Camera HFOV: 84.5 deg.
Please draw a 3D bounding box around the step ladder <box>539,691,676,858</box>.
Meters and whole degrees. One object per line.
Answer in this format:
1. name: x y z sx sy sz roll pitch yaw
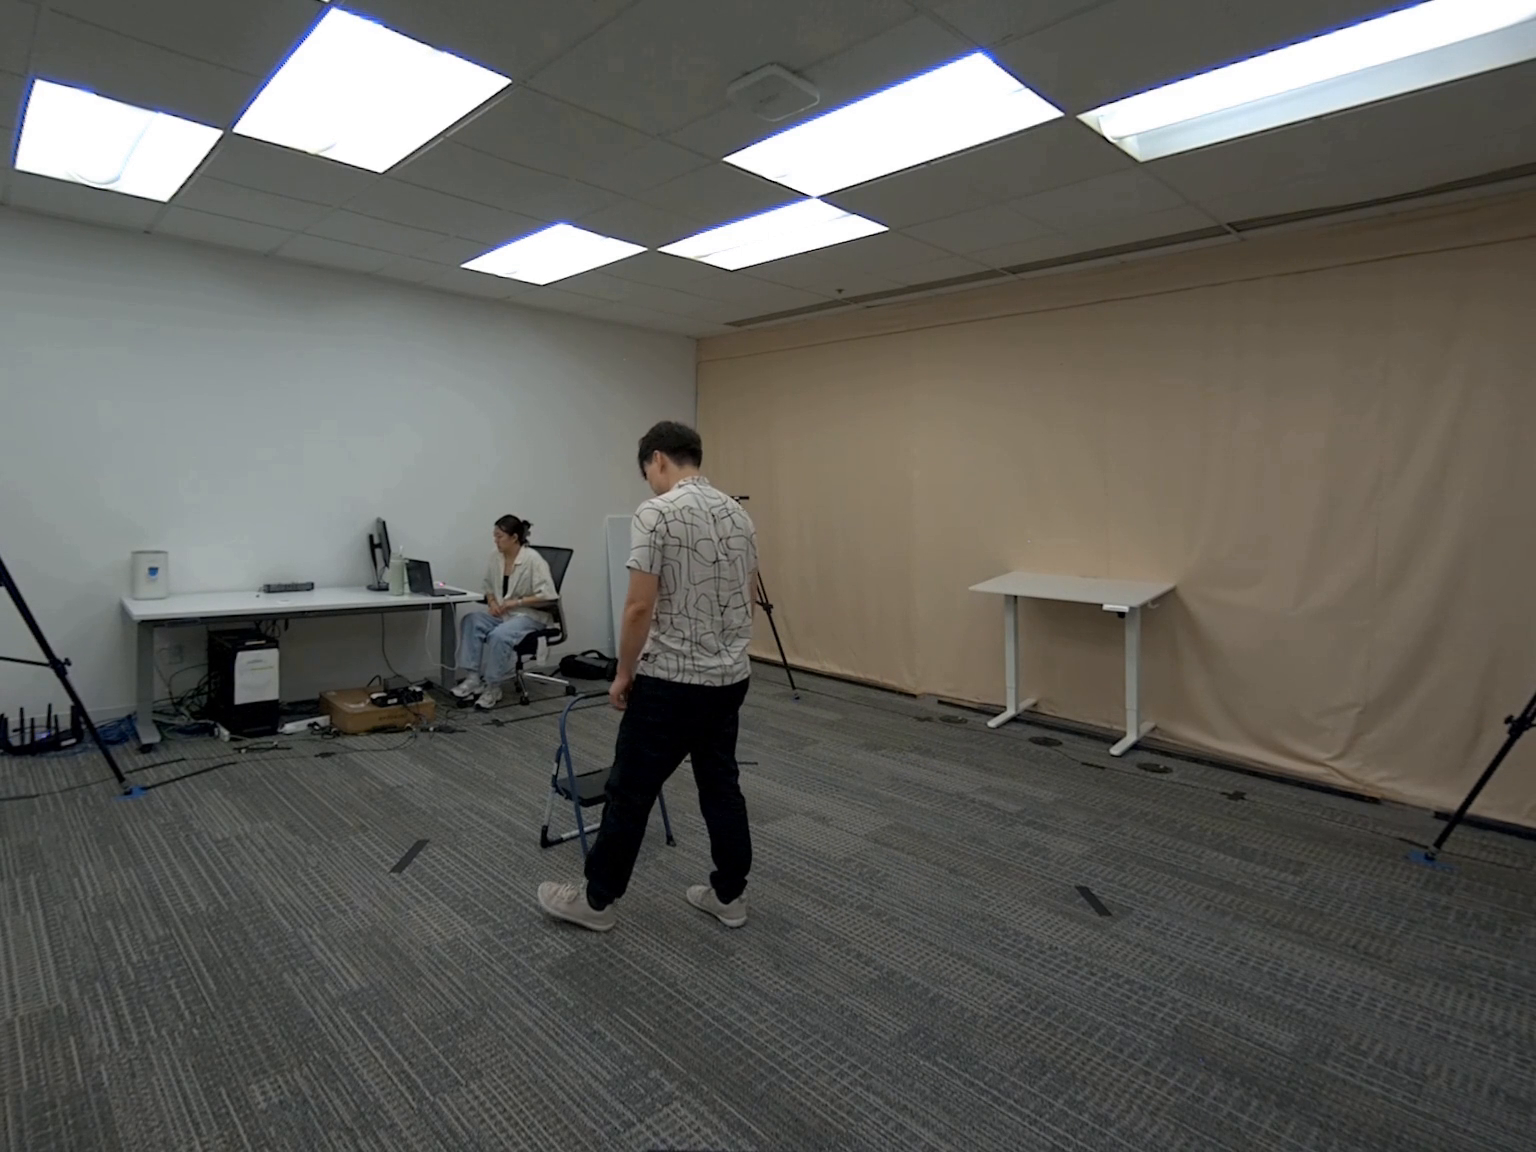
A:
1. step ladder: -0.634 0.771 3.324 0.358 0.605 0.421 4 4 42
